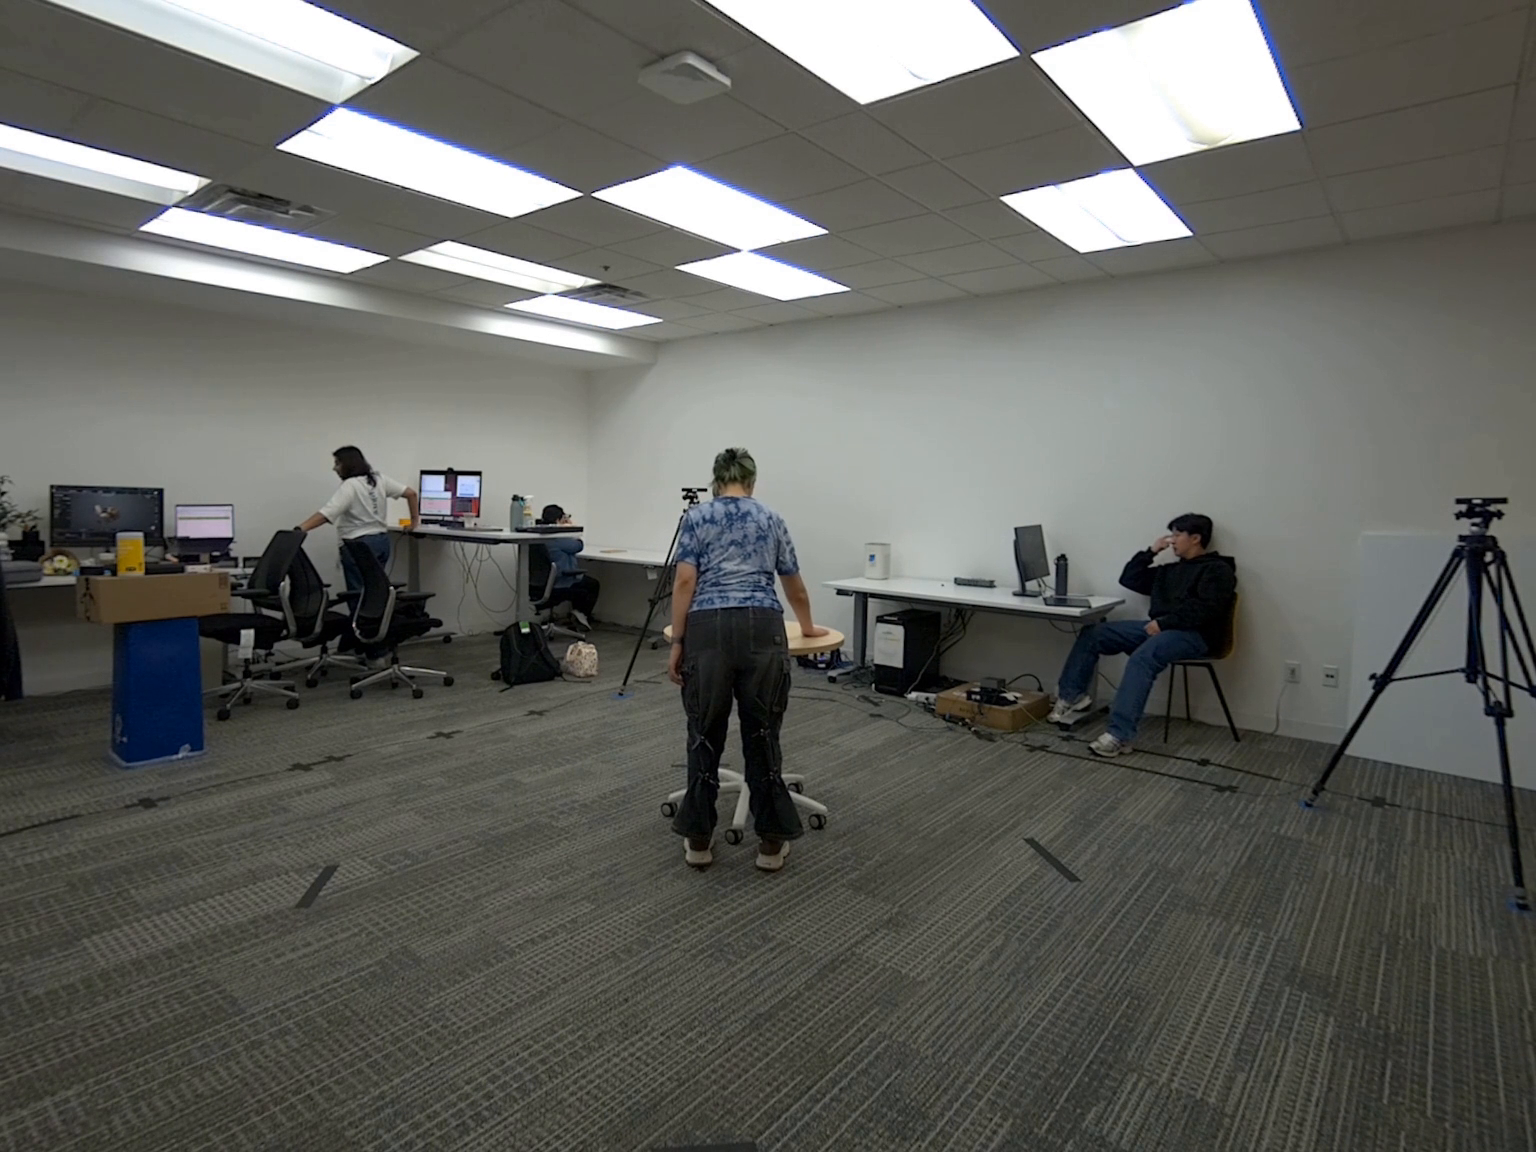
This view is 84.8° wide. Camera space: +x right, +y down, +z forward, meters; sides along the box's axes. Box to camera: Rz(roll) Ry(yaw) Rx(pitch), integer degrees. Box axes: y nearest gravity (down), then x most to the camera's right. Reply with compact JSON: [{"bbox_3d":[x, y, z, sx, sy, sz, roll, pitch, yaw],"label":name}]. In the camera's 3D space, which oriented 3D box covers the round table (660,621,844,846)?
[{"bbox_3d":[-0.070,0.626,3.629,0.784,0.784,0.789,1,4,-2],"label":"round table"}]
